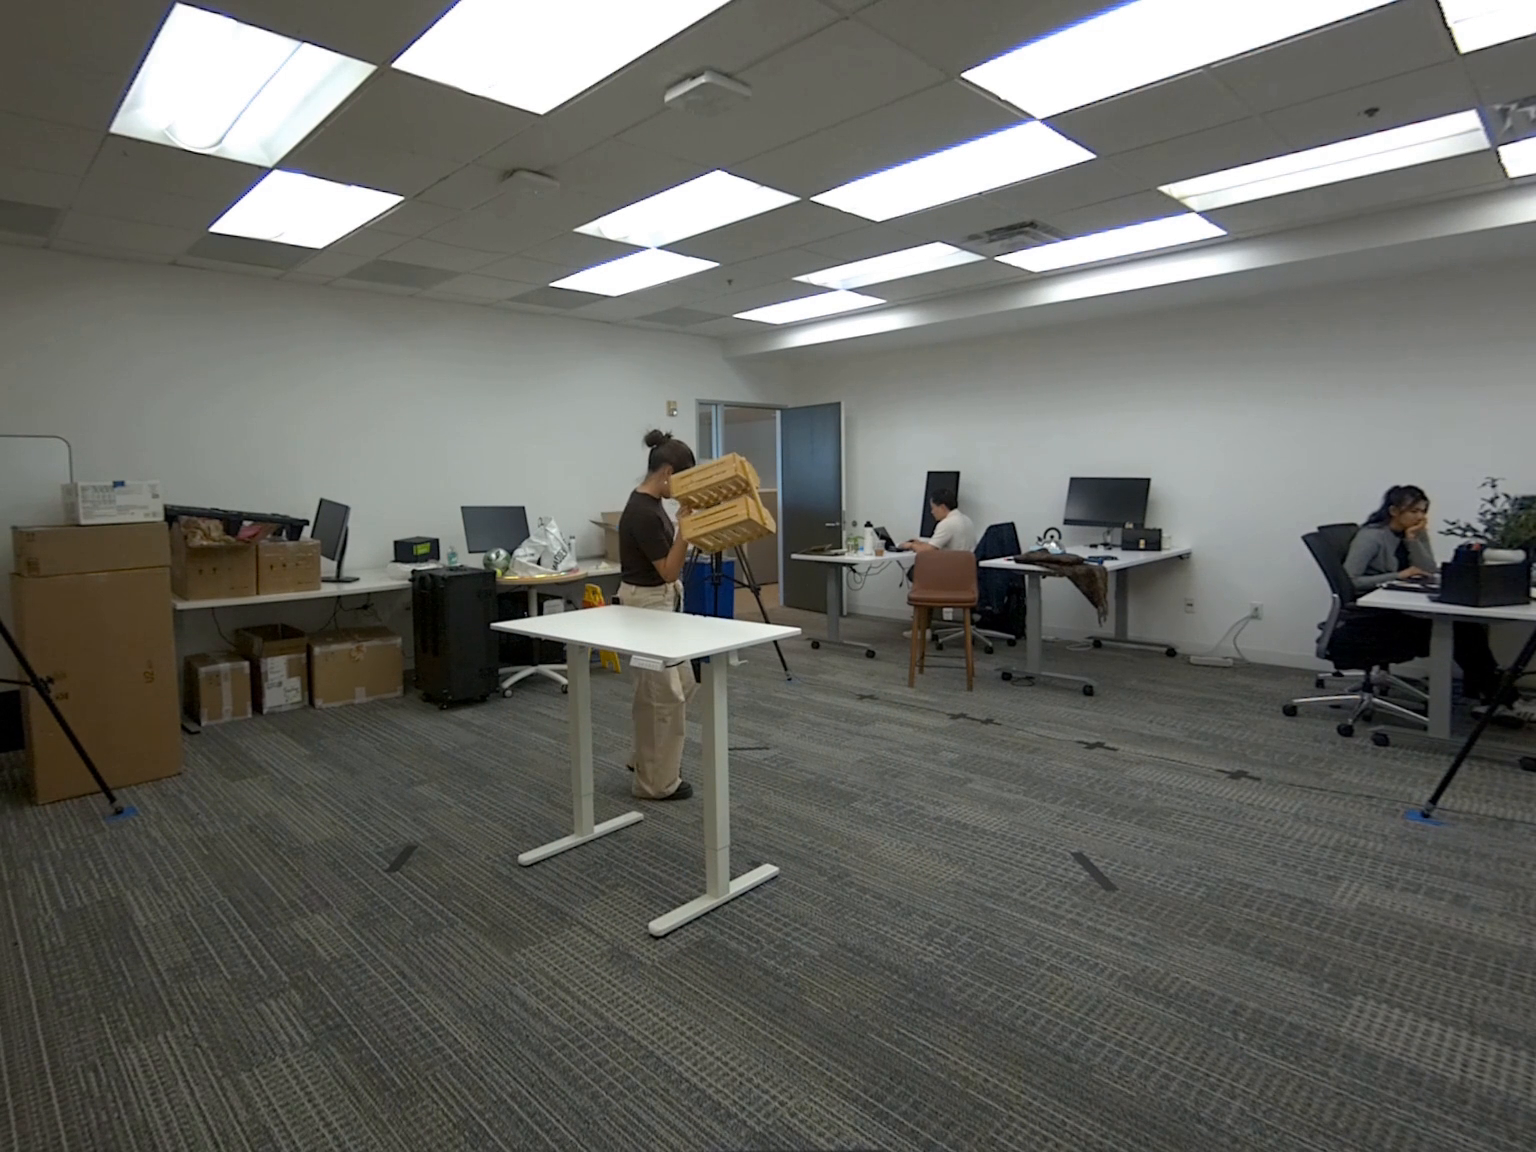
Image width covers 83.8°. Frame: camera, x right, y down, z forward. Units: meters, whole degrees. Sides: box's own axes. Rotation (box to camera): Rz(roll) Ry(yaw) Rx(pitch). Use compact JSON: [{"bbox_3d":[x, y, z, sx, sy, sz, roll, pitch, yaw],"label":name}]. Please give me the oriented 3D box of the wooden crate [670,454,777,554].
[{"bbox_3d":[-0.181,-0.290,3.427,0.329,0.279,0.292,-17,-21,24],"label":"wooden crate"}]
